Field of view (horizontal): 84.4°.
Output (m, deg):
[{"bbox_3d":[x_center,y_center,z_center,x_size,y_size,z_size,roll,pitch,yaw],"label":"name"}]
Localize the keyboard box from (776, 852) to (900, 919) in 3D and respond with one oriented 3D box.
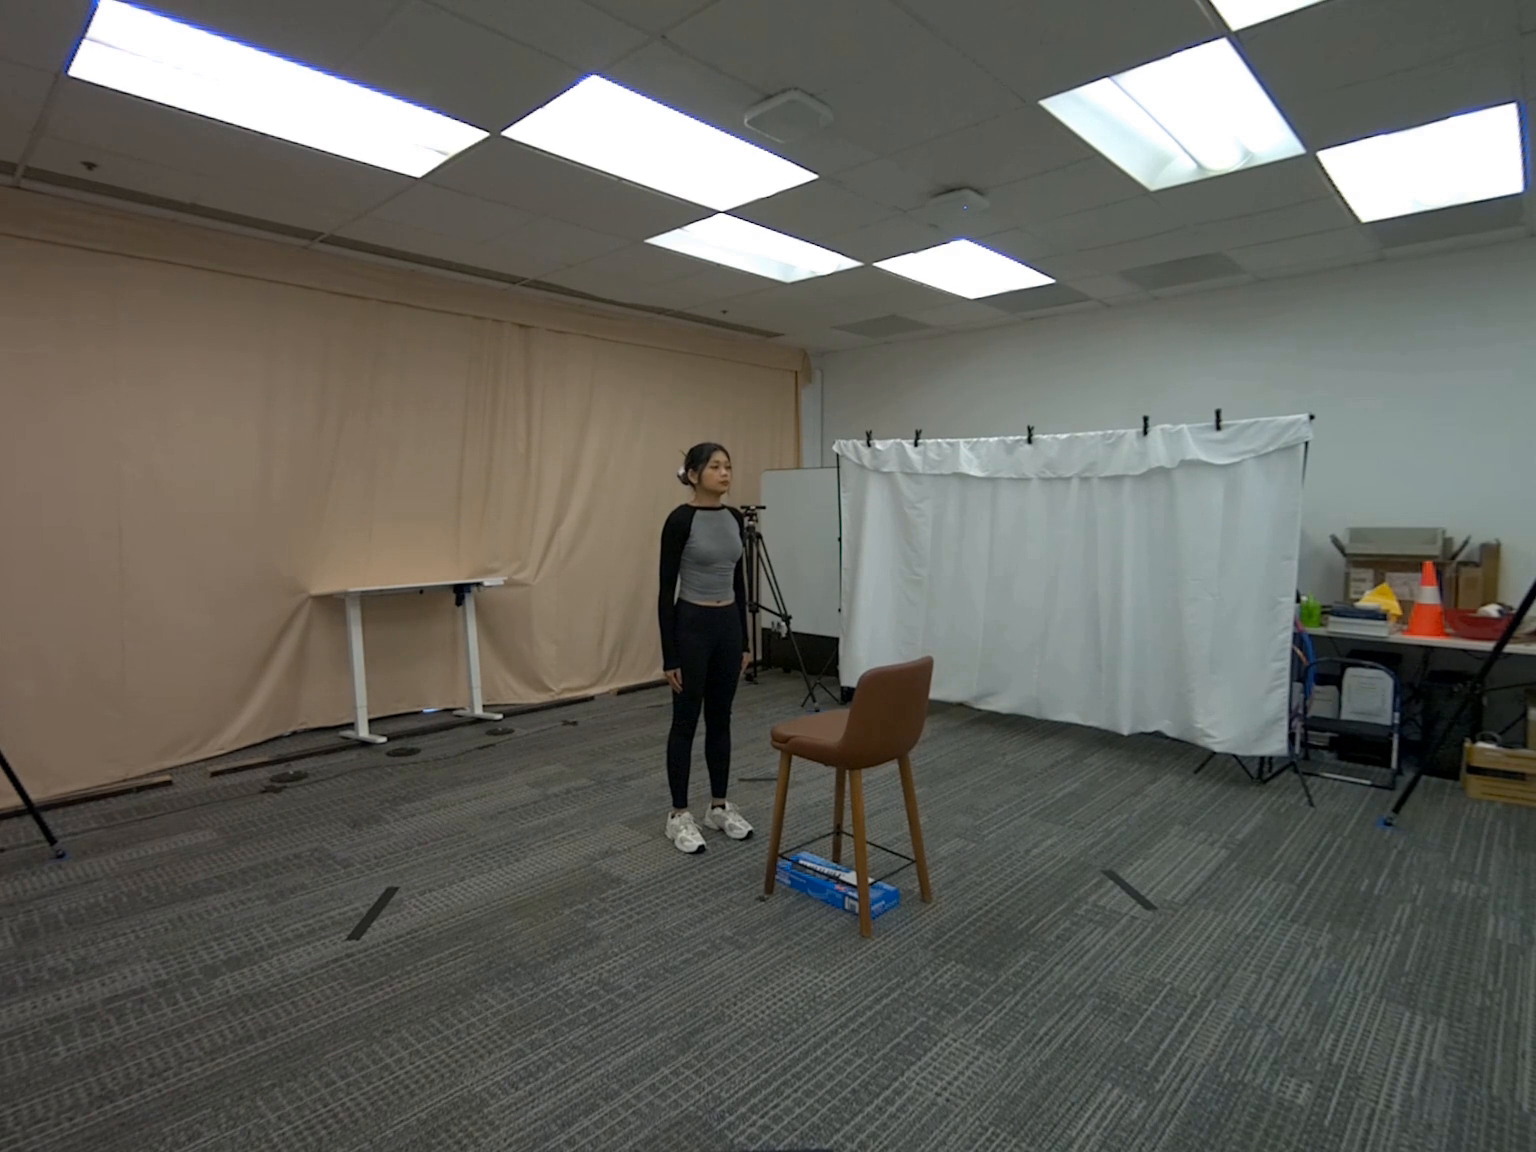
[{"bbox_3d":[0.245,1.110,3.037,0.170,0.059,0.452,-4,7,-44],"label":"keyboard box"}]
